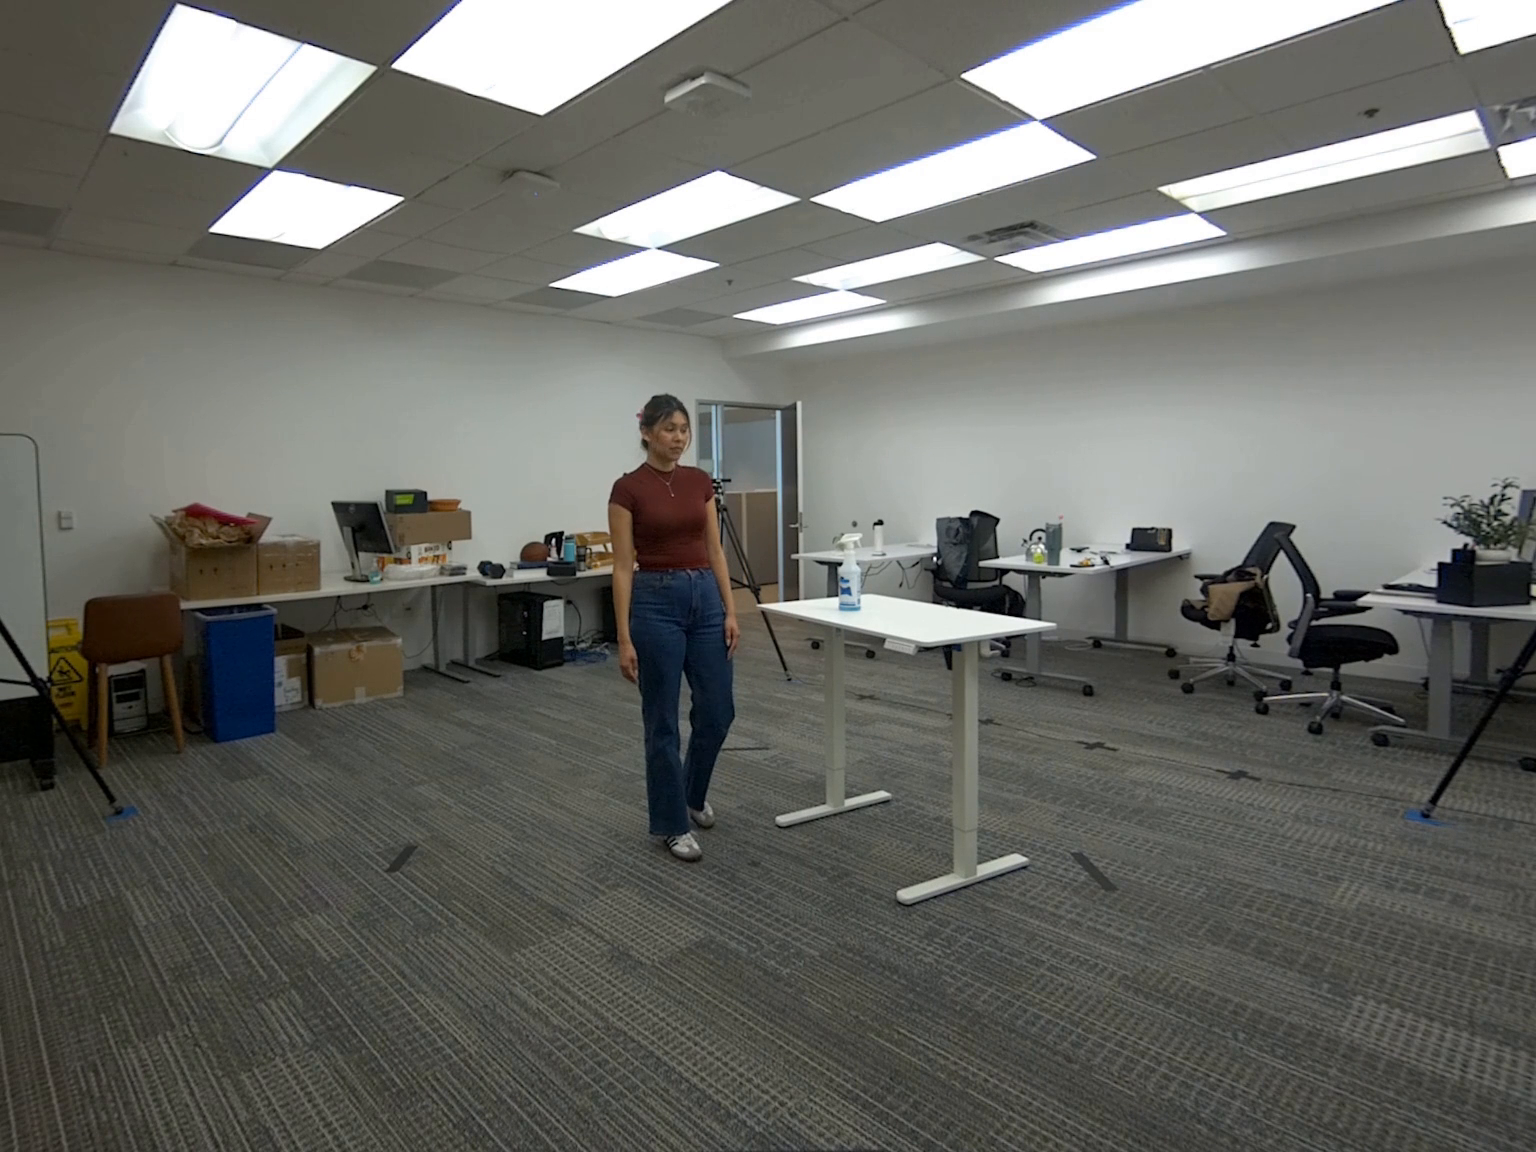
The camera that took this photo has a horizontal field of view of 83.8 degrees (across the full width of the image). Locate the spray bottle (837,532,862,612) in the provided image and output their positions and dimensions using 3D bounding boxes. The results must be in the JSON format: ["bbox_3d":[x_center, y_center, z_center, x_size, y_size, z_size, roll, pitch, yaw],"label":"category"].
[{"bbox_3d":[0.316,-0.014,3.328,0.091,0.296,0.087,1,4,6],"label":"spray bottle"}]
